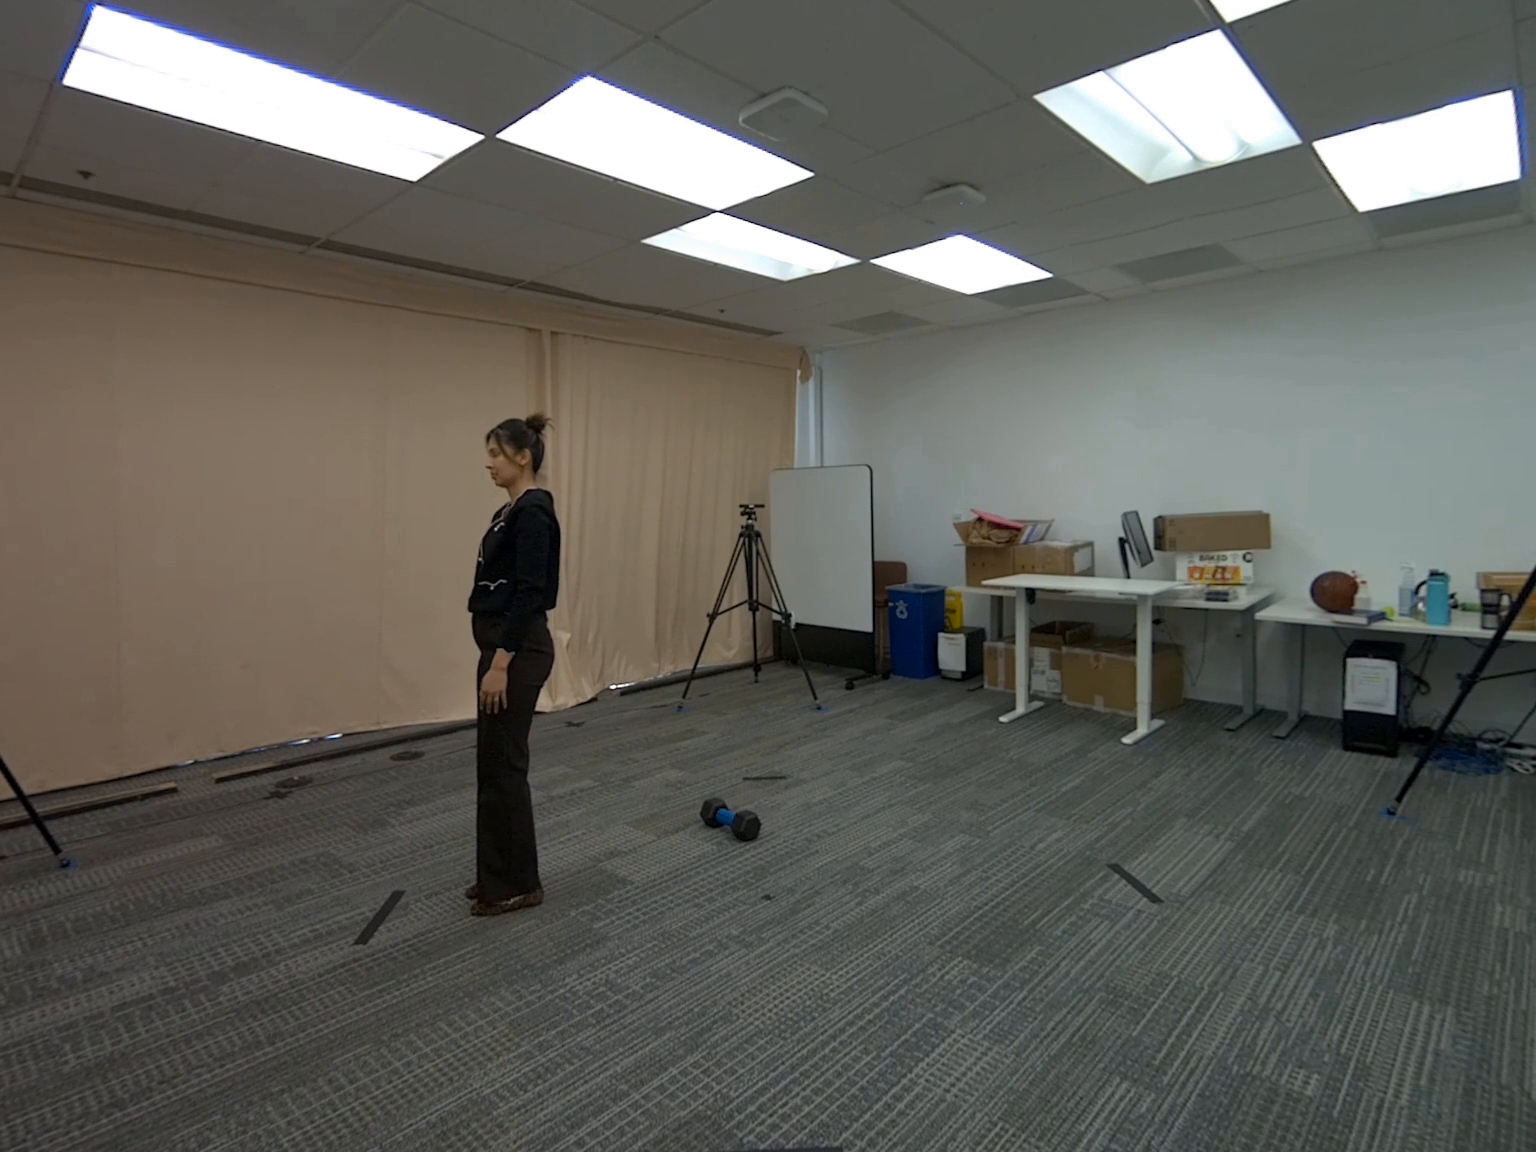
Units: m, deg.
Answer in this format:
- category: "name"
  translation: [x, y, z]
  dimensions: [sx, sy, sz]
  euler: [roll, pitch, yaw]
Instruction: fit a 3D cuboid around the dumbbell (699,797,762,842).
- category: "dumbbell"
  translation: [-0.160, 1.036, 3.591]
  dimensions: [0.105, 0.123, 0.303]
  euler: [35, -20, -36]
